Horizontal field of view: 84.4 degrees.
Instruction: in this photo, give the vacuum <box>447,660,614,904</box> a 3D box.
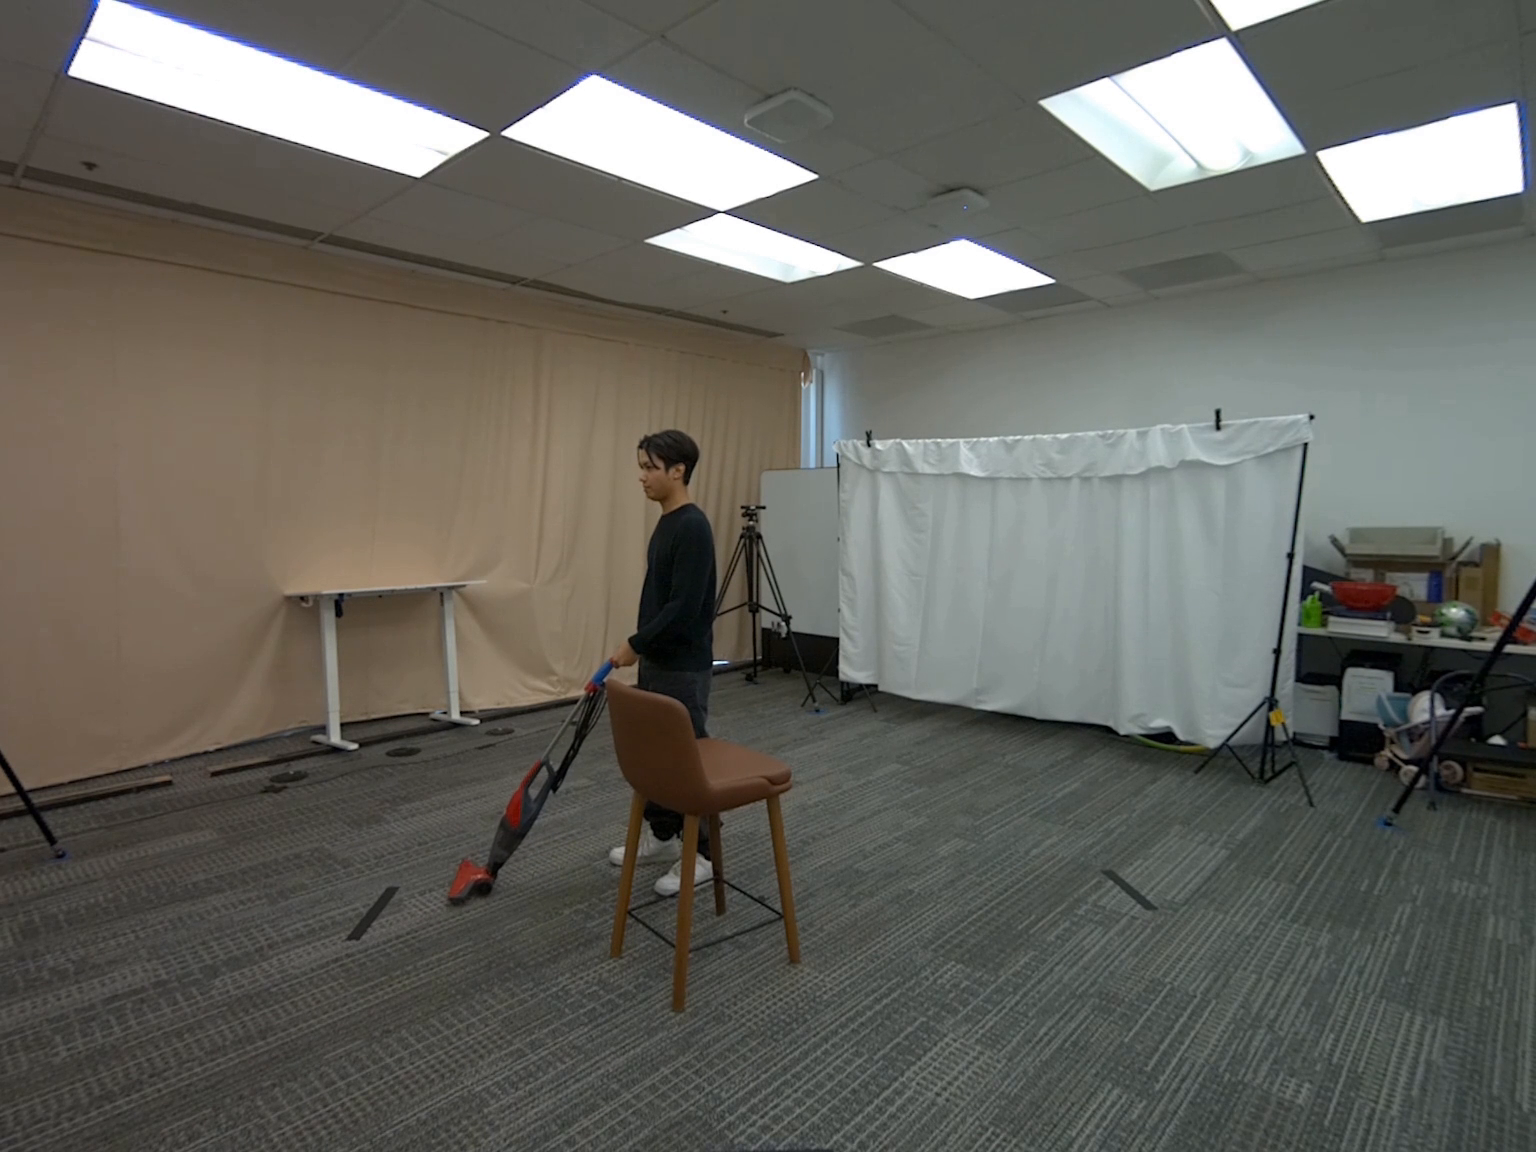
[{"bbox_3d":[-0.787,0.700,3.028,0.141,1.049,0.257,34,2,-16],"label":"vacuum"}]
